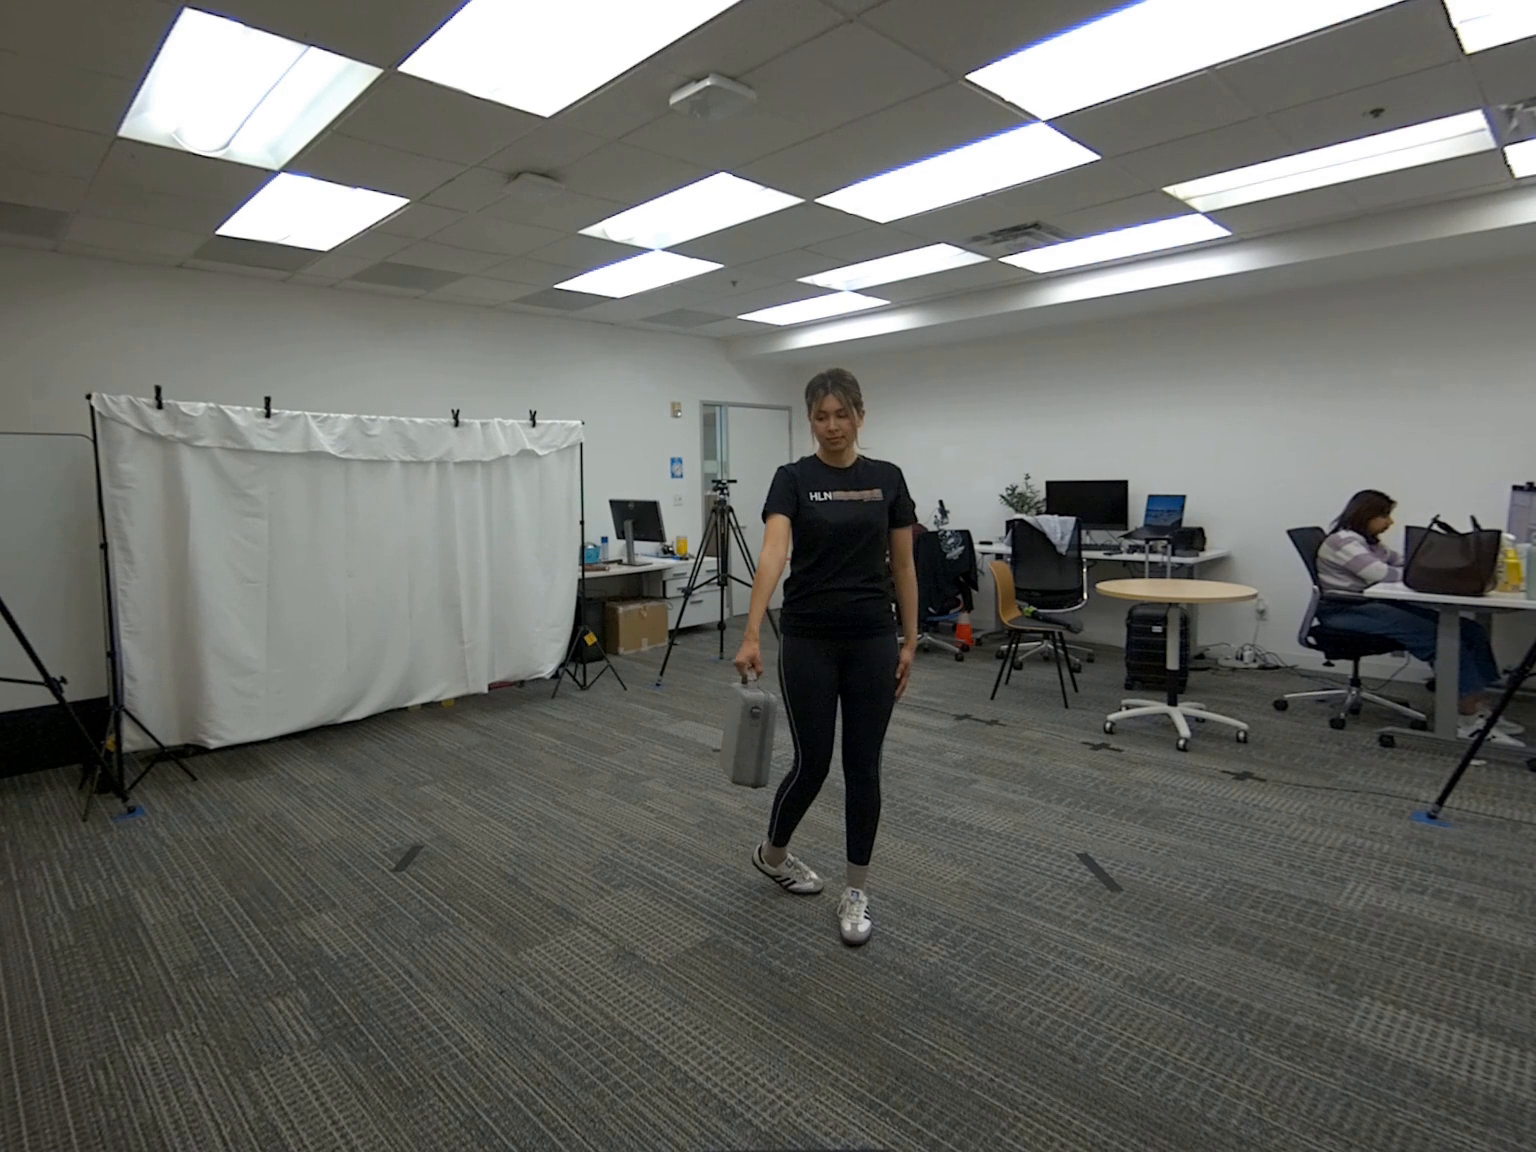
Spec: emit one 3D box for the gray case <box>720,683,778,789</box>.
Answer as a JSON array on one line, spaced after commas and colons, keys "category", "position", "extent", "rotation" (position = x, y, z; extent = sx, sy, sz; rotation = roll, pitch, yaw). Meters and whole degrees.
[{"category": "gray case", "position": [-0.052, 0.432, 2.376], "extent": [0.103, 0.261, 0.258], "rotation": [6, -3, -8]}]
